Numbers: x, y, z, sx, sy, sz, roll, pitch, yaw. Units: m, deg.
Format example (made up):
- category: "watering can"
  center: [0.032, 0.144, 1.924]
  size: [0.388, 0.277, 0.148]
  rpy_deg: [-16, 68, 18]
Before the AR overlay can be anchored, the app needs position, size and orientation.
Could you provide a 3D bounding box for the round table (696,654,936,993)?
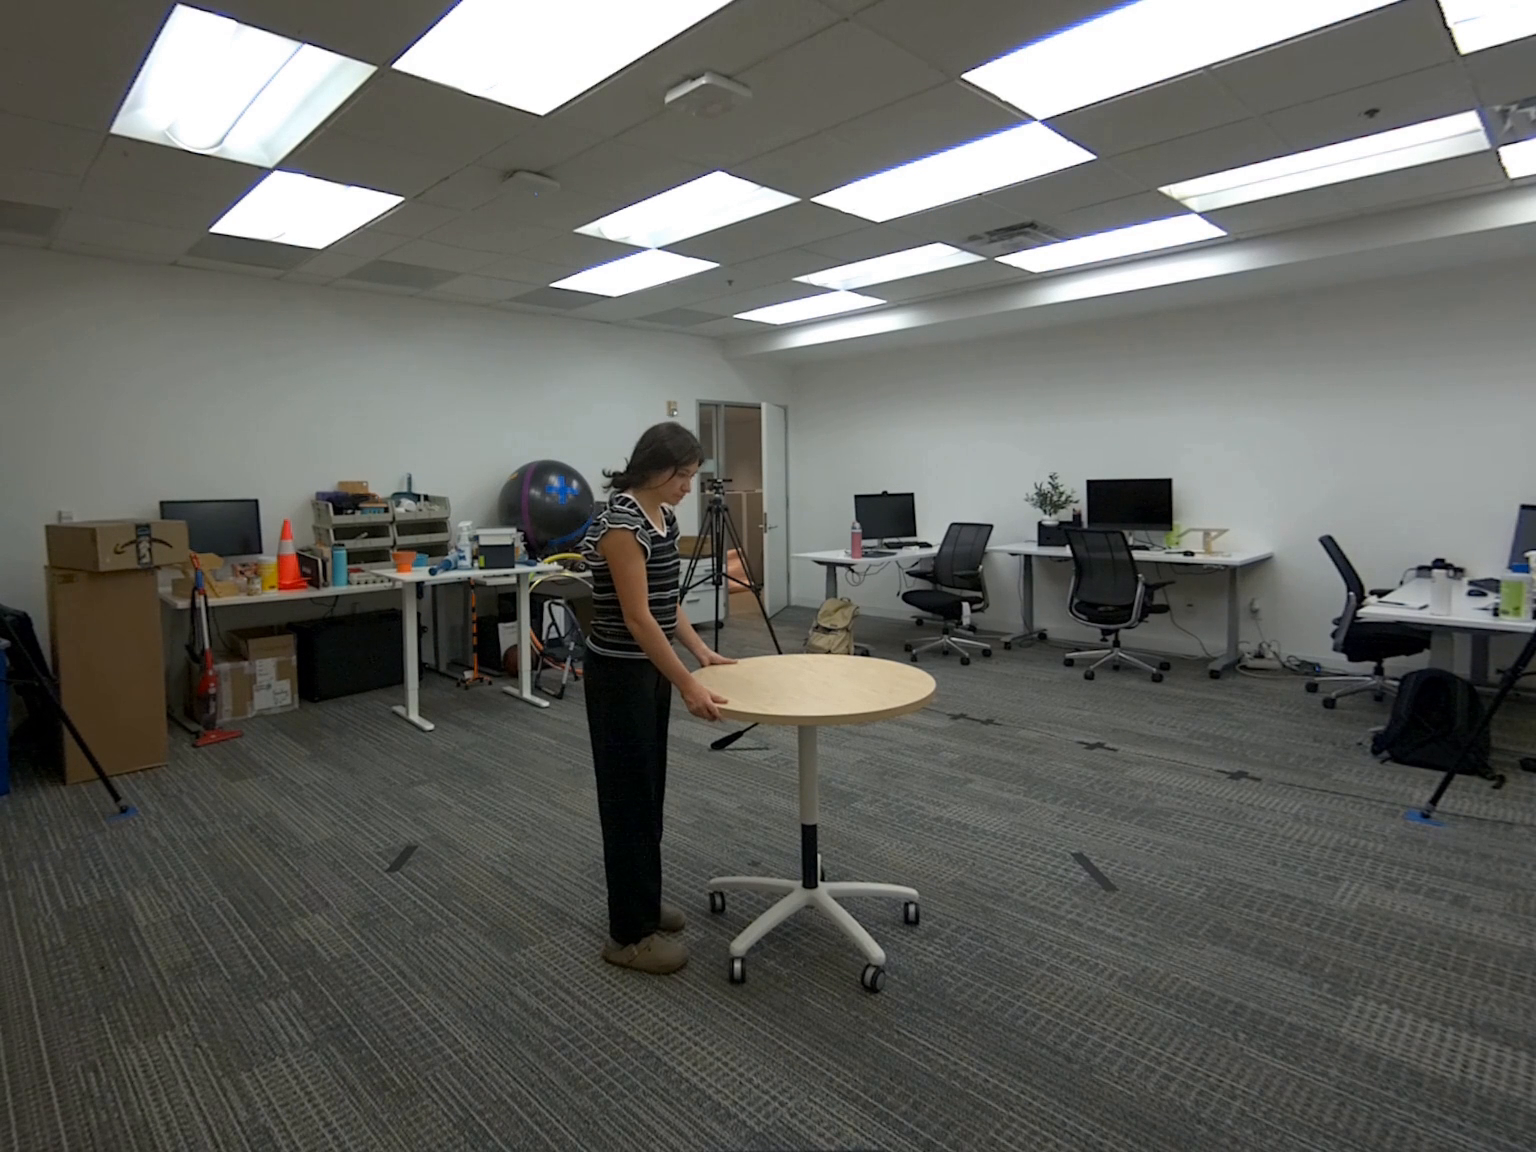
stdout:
- category: "round table"
  center: [0.135, 0.706, 2.621]
  size: [0.763, 0.791, 0.768]
  rpy_deg: [-1, 5, -2]
